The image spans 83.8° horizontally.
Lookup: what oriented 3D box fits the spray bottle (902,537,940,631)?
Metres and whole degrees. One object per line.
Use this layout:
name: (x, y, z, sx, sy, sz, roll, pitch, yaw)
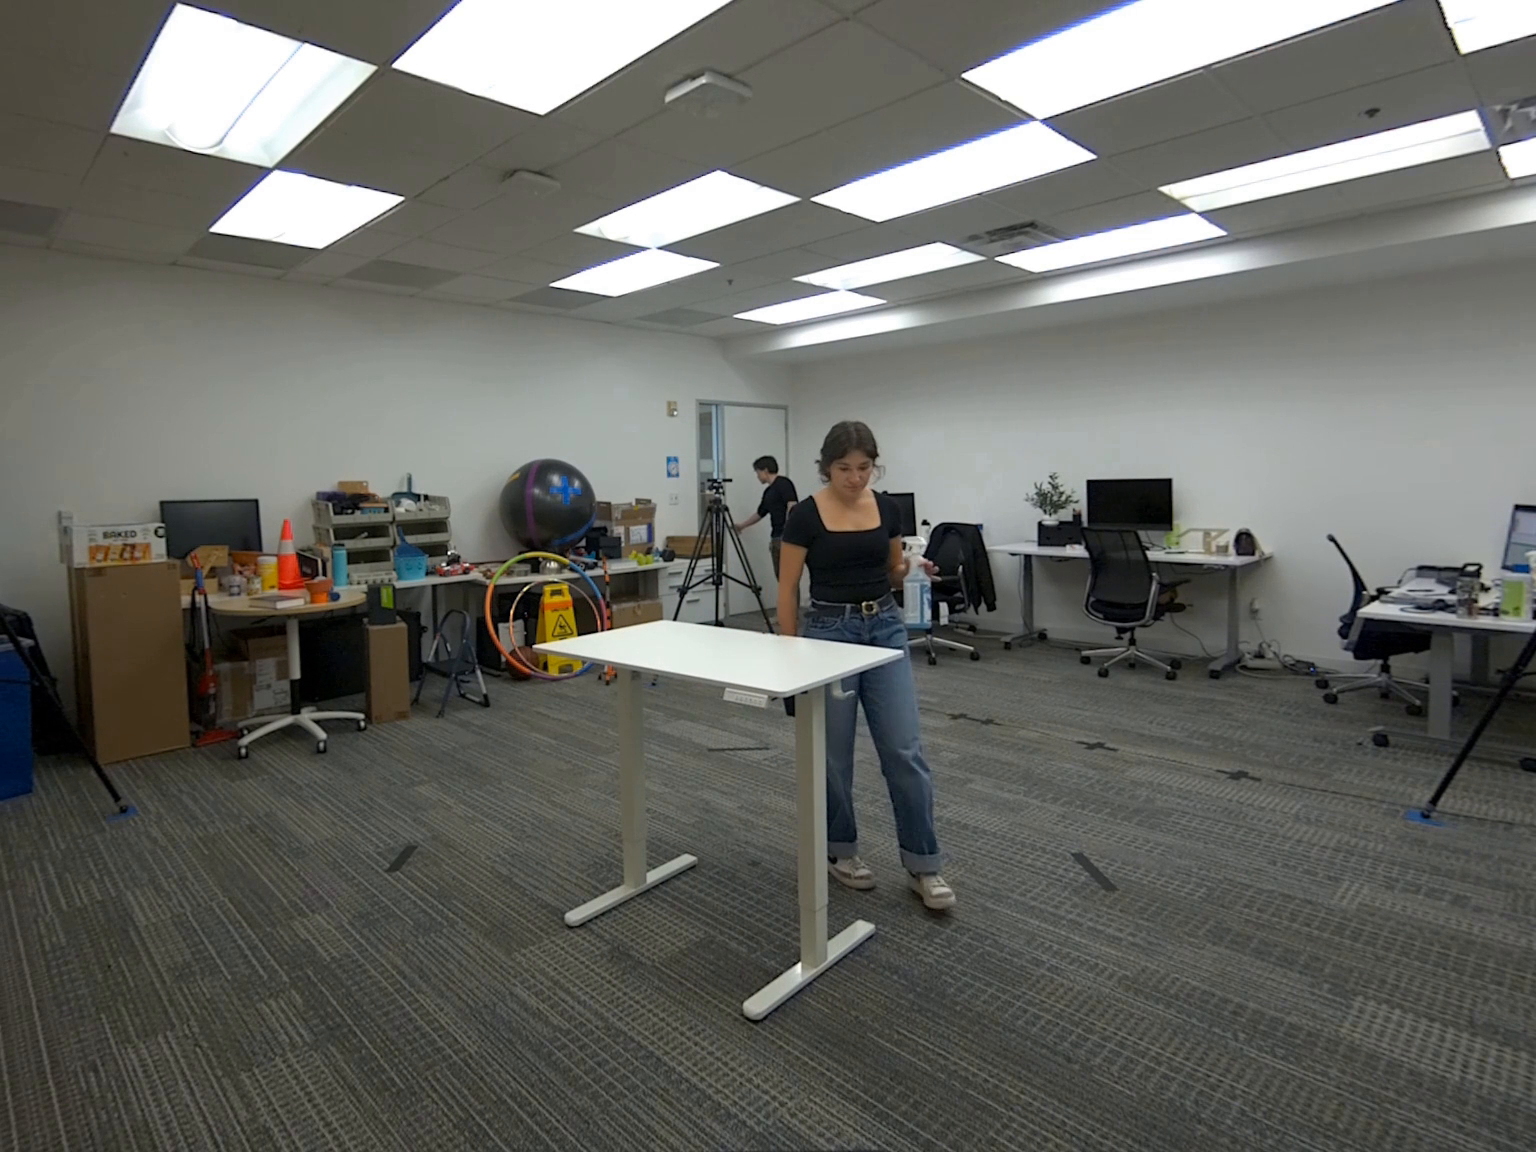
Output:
spray bottle: (0.483, 0.025, 2.756, 0.086, 0.299, 0.090, 5, -5, -9)
